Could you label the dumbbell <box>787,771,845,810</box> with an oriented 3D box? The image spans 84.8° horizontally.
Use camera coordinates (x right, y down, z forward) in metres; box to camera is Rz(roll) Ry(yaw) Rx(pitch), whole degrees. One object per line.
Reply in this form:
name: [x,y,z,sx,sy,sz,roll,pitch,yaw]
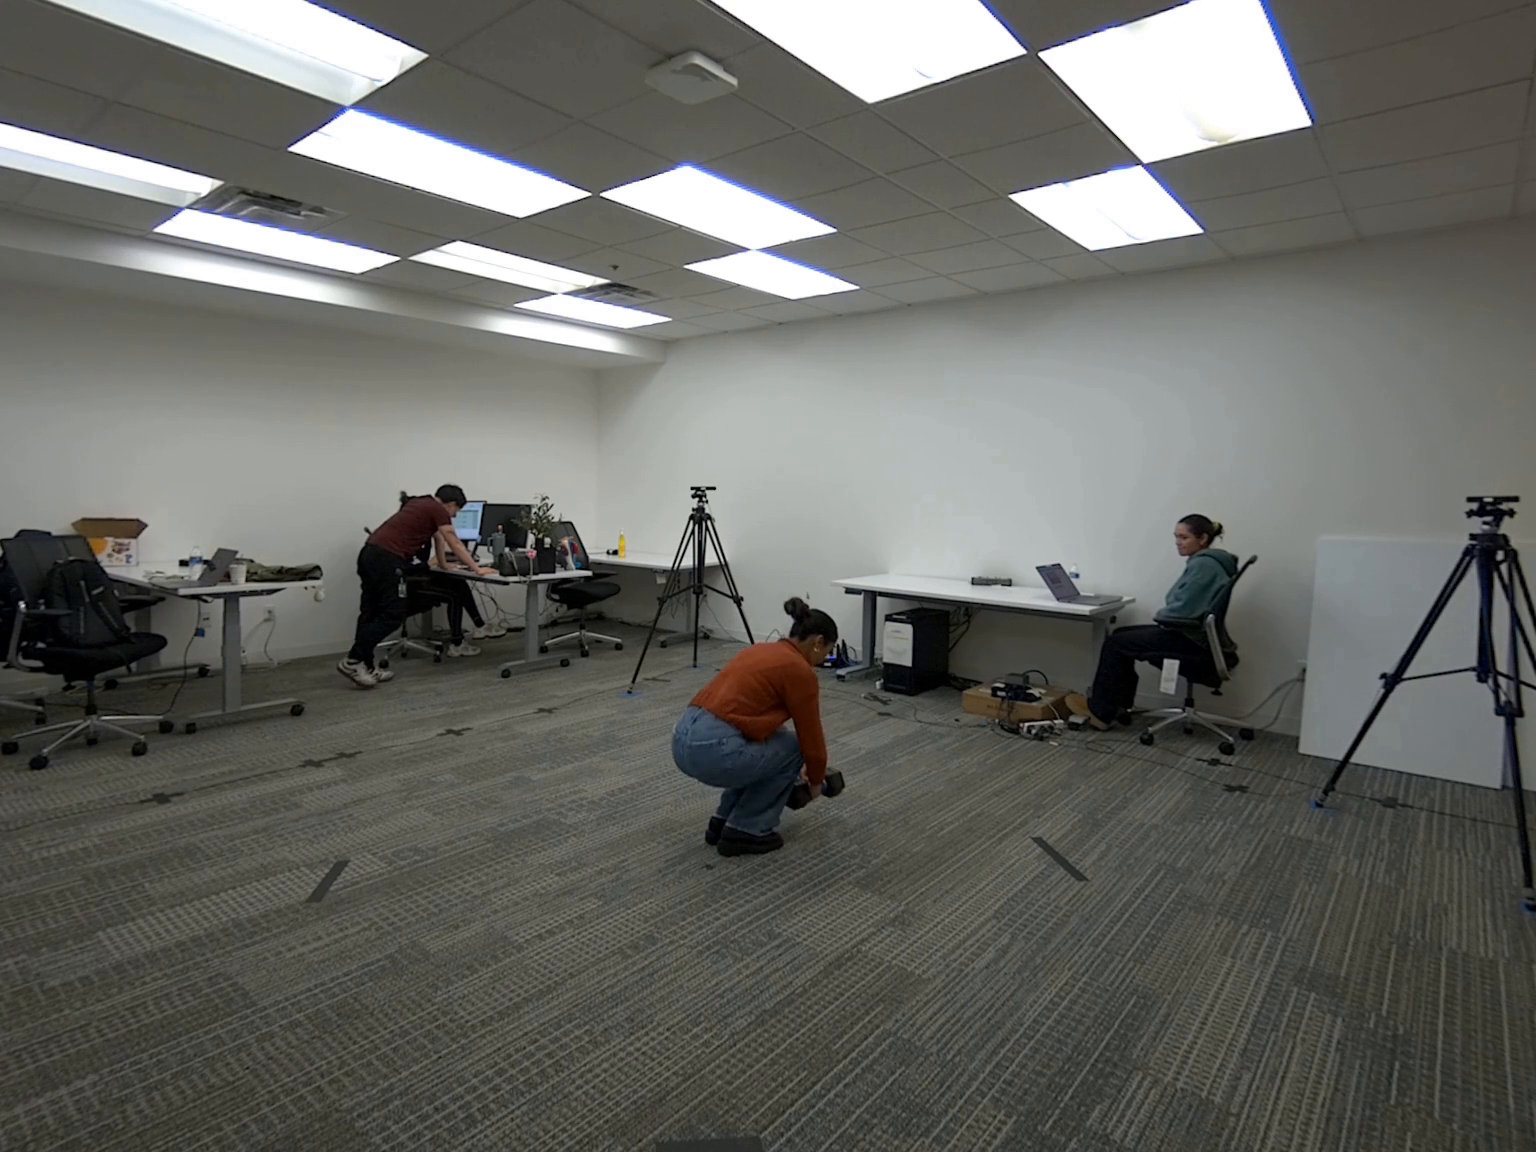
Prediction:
dumbbell: [0.176,0.875,3.538,0.285,0.125,0.109,-6,-20,-40]
